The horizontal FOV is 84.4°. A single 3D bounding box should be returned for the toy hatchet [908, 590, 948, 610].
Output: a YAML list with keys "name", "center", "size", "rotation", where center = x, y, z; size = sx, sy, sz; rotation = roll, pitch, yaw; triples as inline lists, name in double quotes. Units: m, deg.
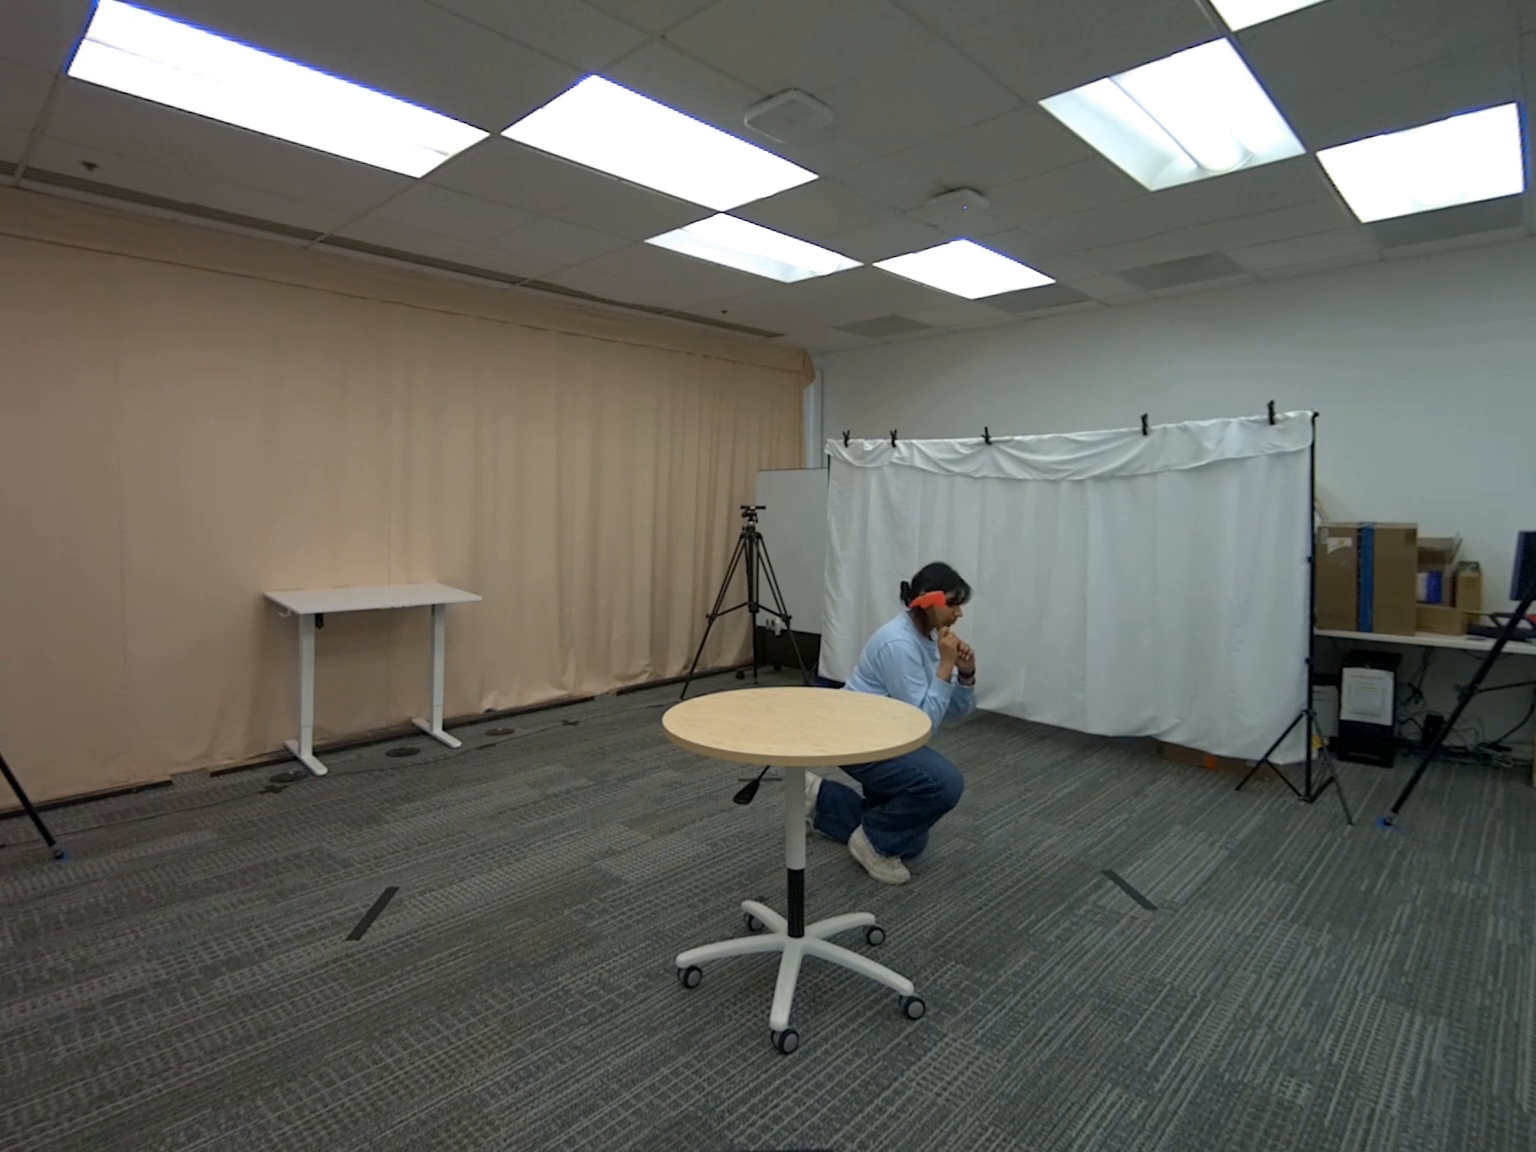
- name: "toy hatchet"
  center: [0.663, 0.159, 3.058]
  size: [0.132, 0.272, 0.029]
  rotation: [-44, -6, 26]
